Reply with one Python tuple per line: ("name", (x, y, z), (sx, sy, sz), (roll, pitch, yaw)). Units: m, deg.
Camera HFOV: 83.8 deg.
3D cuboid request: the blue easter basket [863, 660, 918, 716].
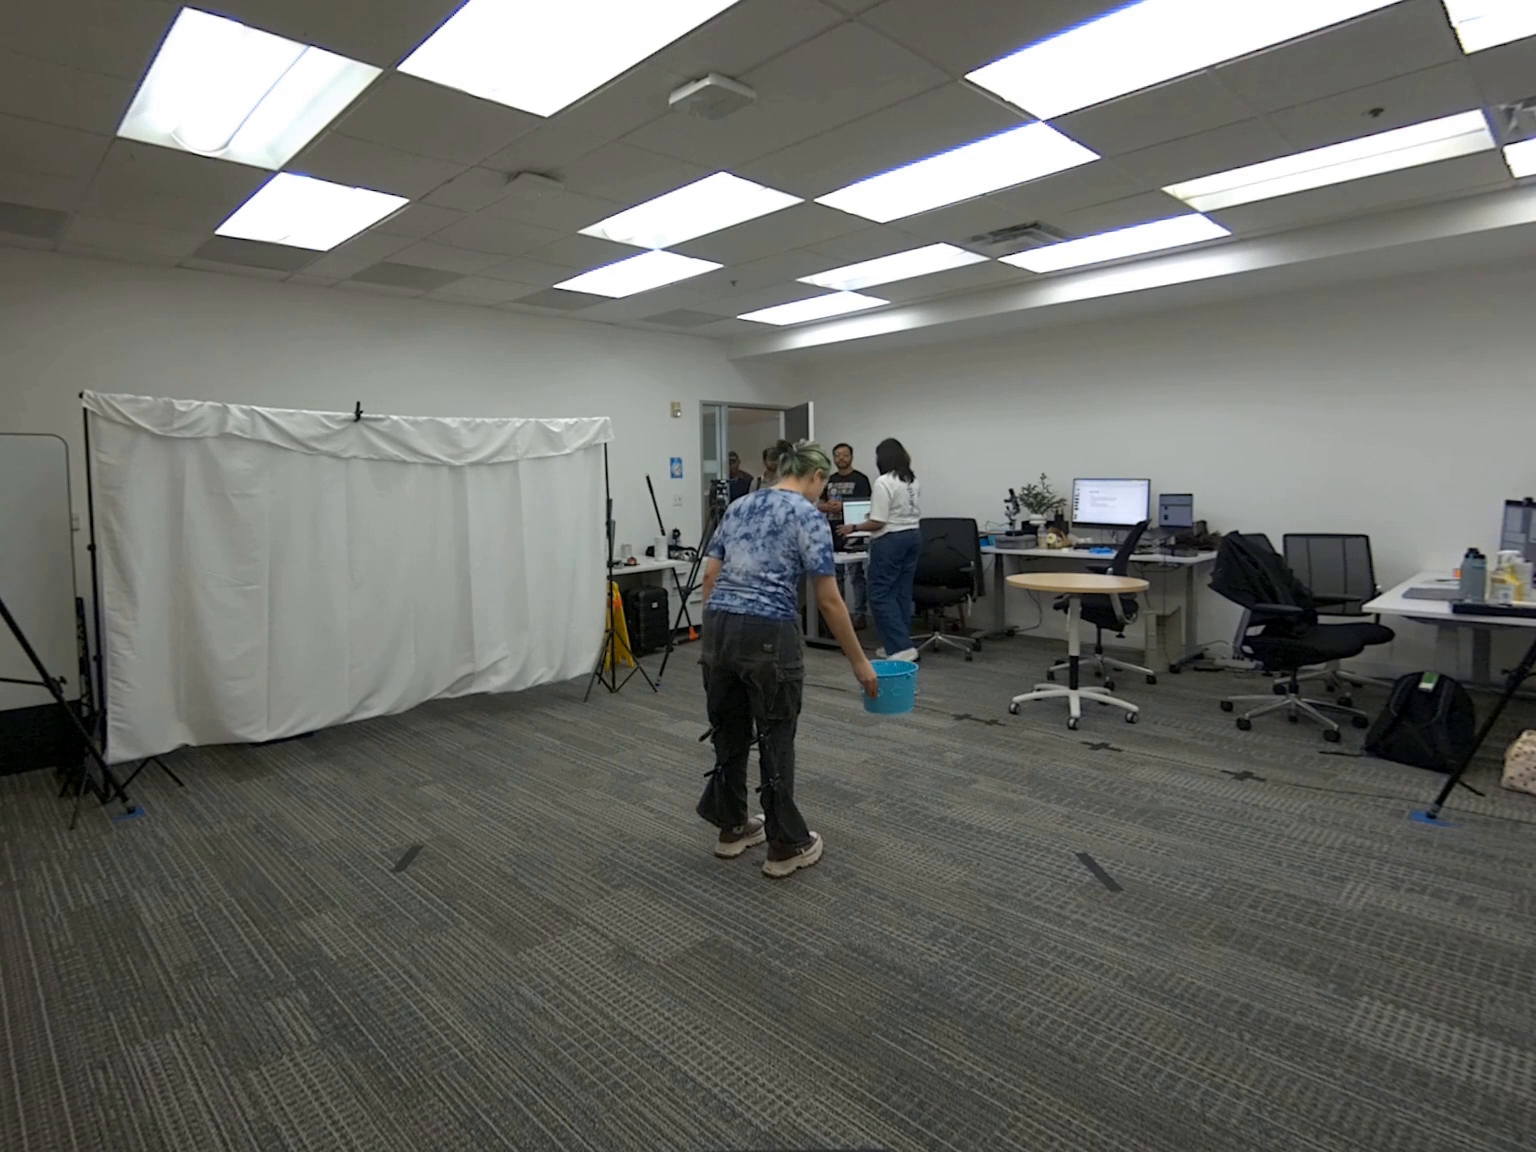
("blue easter basket", (0.446, 0.420, 3.161), (0.243, 0.155, 0.245), (-4, 8, -1))
